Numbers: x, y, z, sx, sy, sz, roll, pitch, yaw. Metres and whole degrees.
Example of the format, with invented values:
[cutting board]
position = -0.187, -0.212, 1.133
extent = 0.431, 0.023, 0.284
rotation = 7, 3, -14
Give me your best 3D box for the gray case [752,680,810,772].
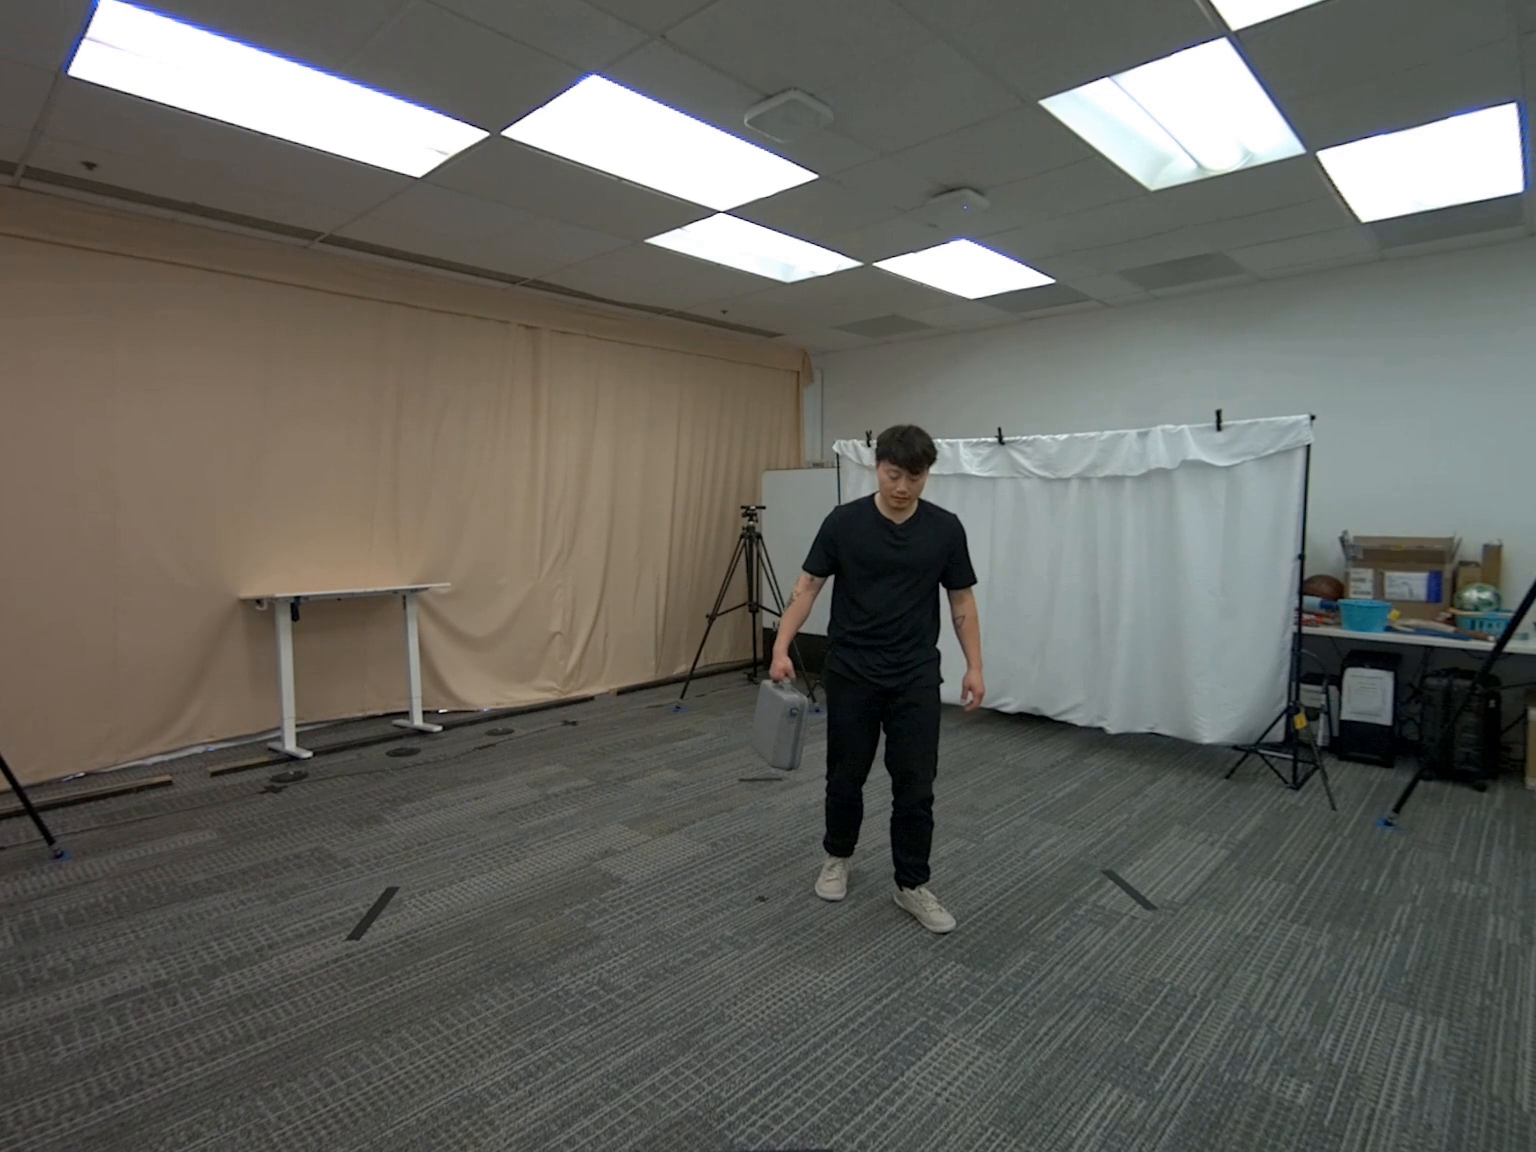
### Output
[gray case]
position = 0.046, 0.499, 2.853
extent = 0.102, 0.260, 0.262
rotation = 5, 4, -17
